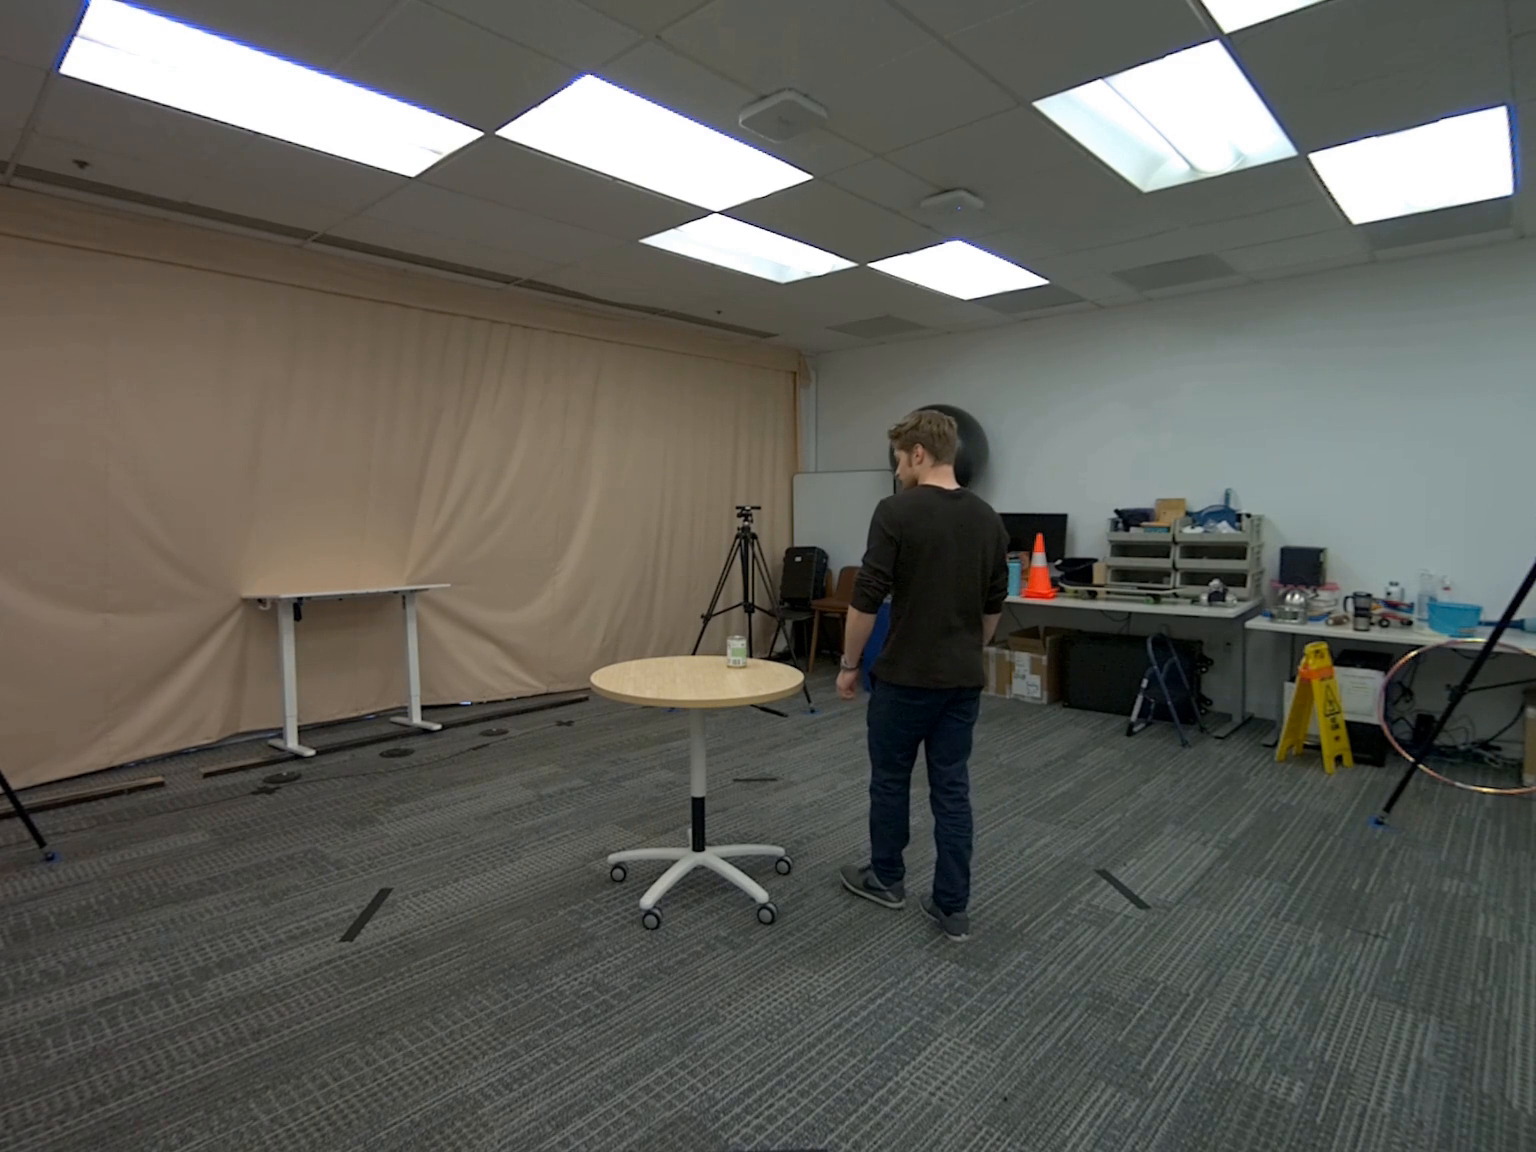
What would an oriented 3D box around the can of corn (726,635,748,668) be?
[{"bbox_3d":[-0.115,0.288,3.185,0.074,0.110,0.074,0,6,-2],"label":"can of corn"}]
